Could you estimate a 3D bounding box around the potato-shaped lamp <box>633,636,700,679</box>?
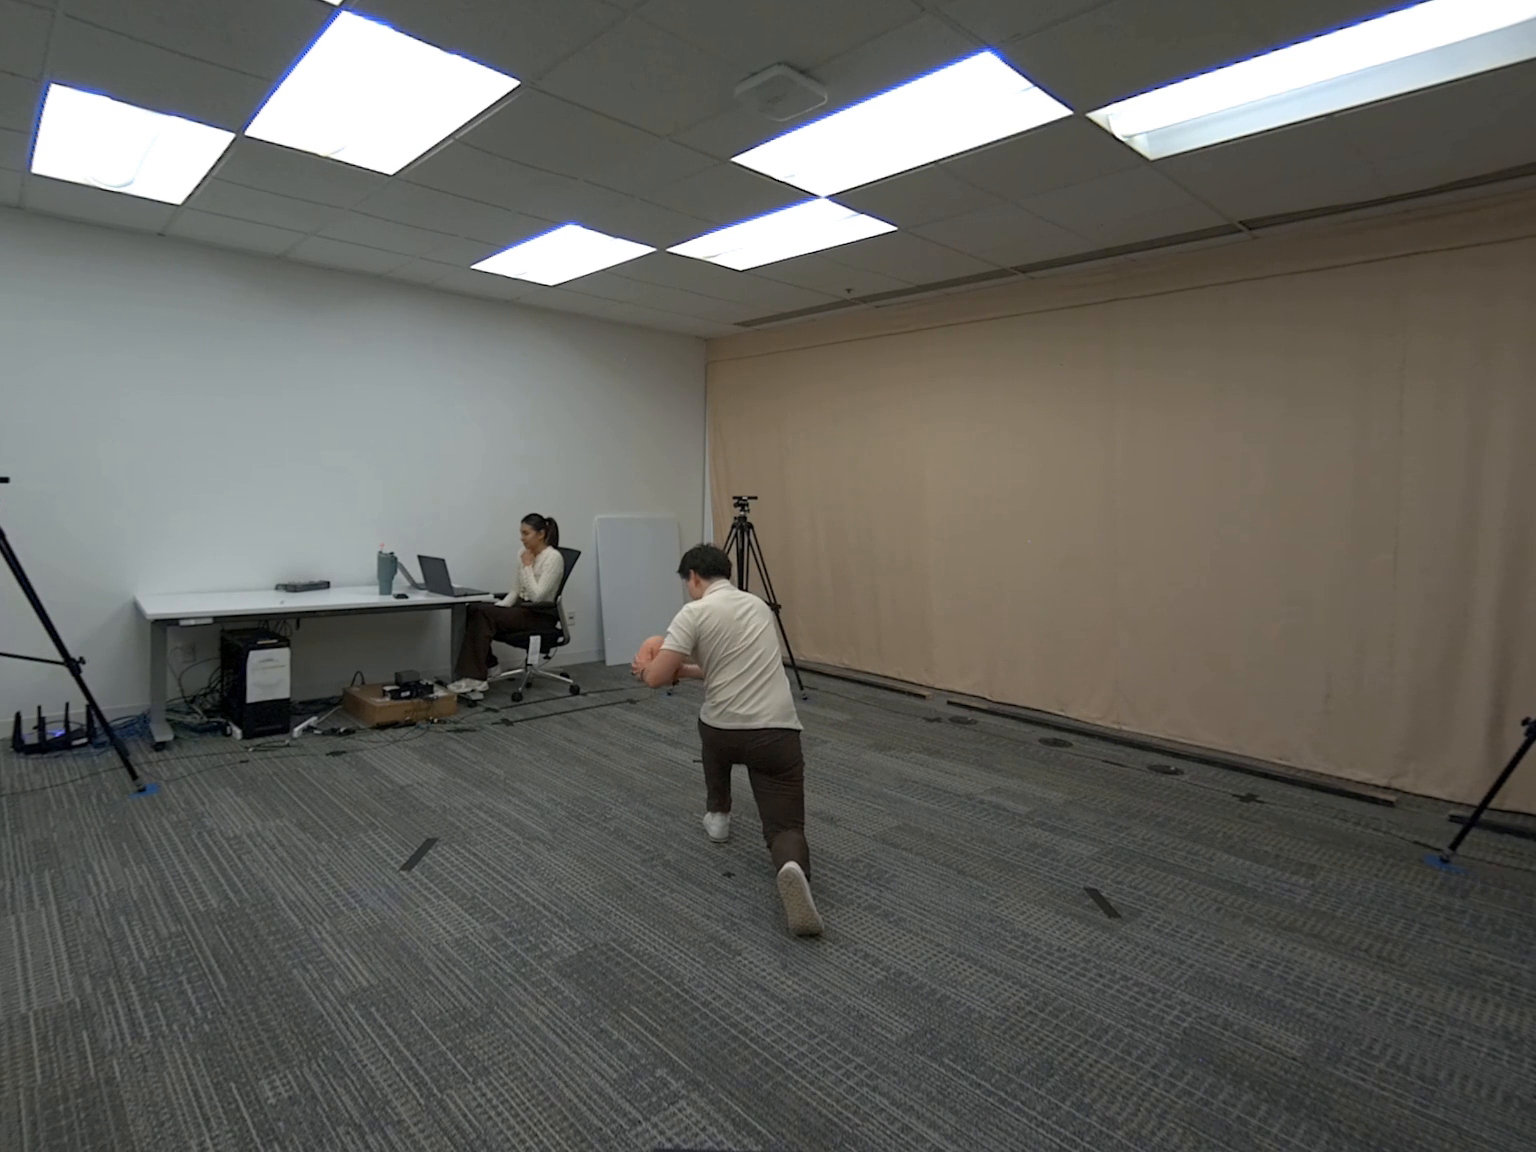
[{"bbox_3d":[-0.442,0.352,3.510,0.161,0.198,0.175,16,-4,-30],"label":"potato-shaped lamp"}]
